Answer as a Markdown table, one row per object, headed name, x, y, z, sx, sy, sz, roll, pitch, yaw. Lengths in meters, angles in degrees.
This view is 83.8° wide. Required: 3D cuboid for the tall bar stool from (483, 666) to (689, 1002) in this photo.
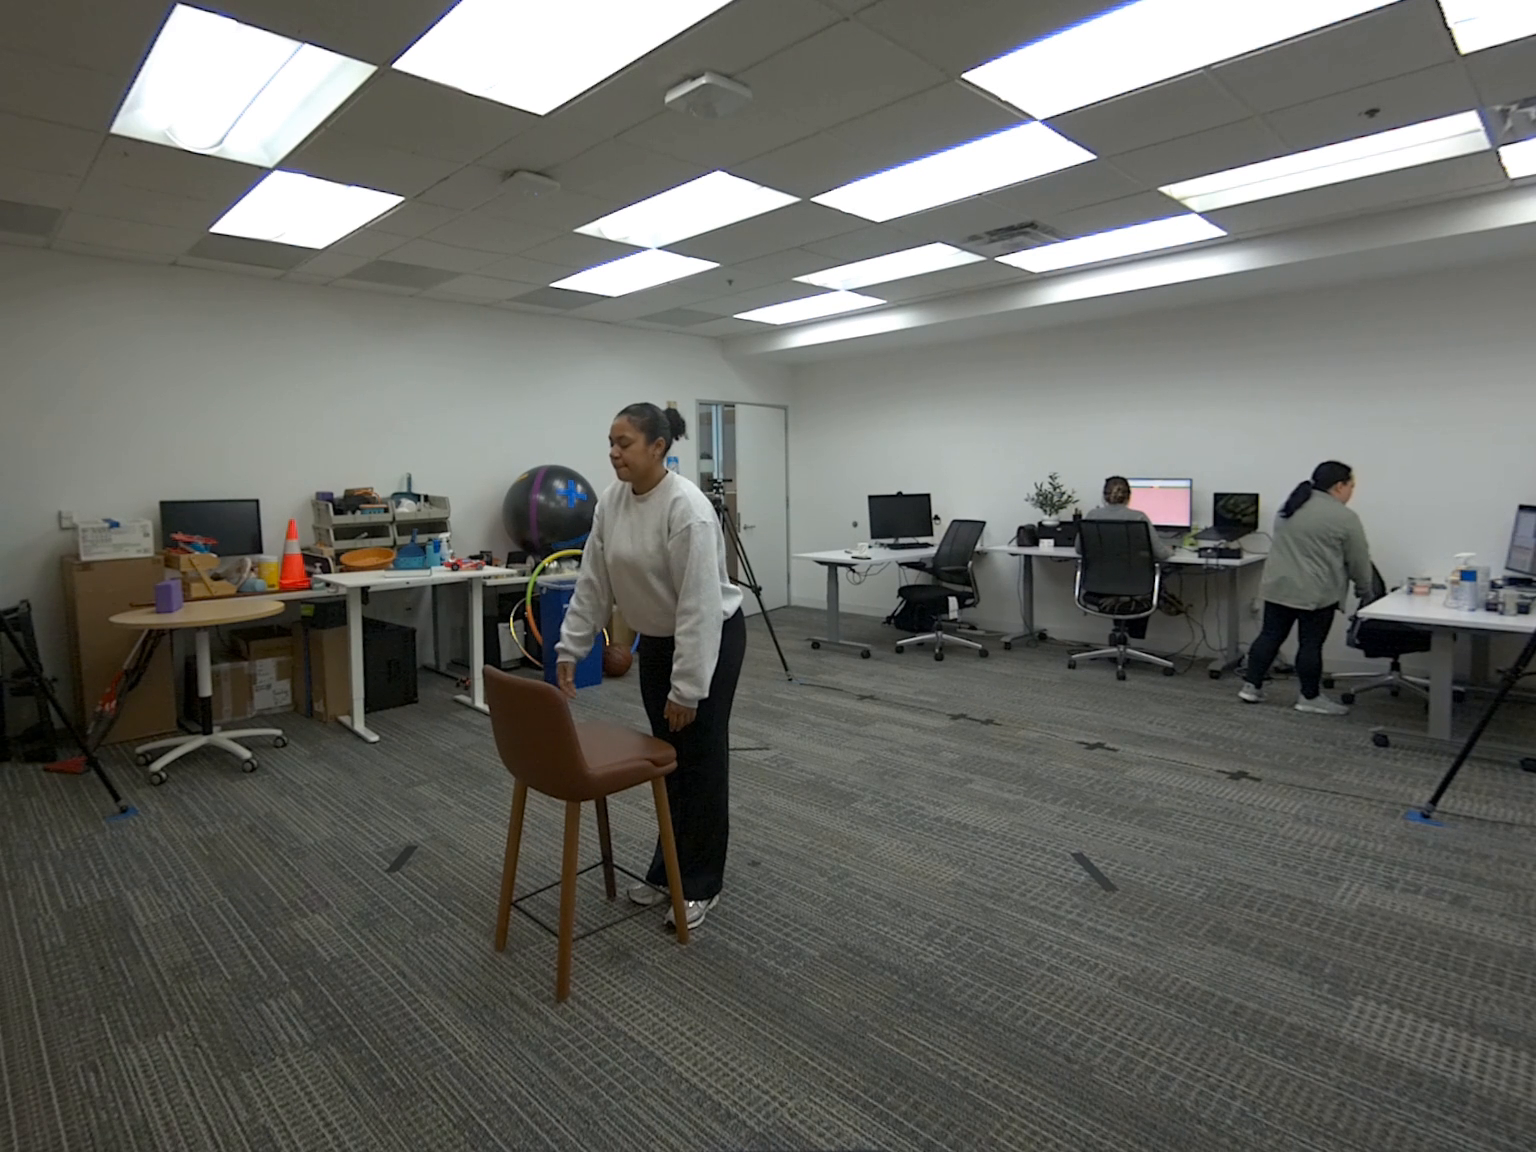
| name | x | y | z | sx | sy | sz | roll | pitch | yaw |
| --- | --- | --- | --- | --- | --- | --- | --- | --- | --- |
| tall bar stool | -0.540 | 0.678 | 2.551 | 0.456 | 0.885 | 0.471 | -8 | 8 | -43 |
